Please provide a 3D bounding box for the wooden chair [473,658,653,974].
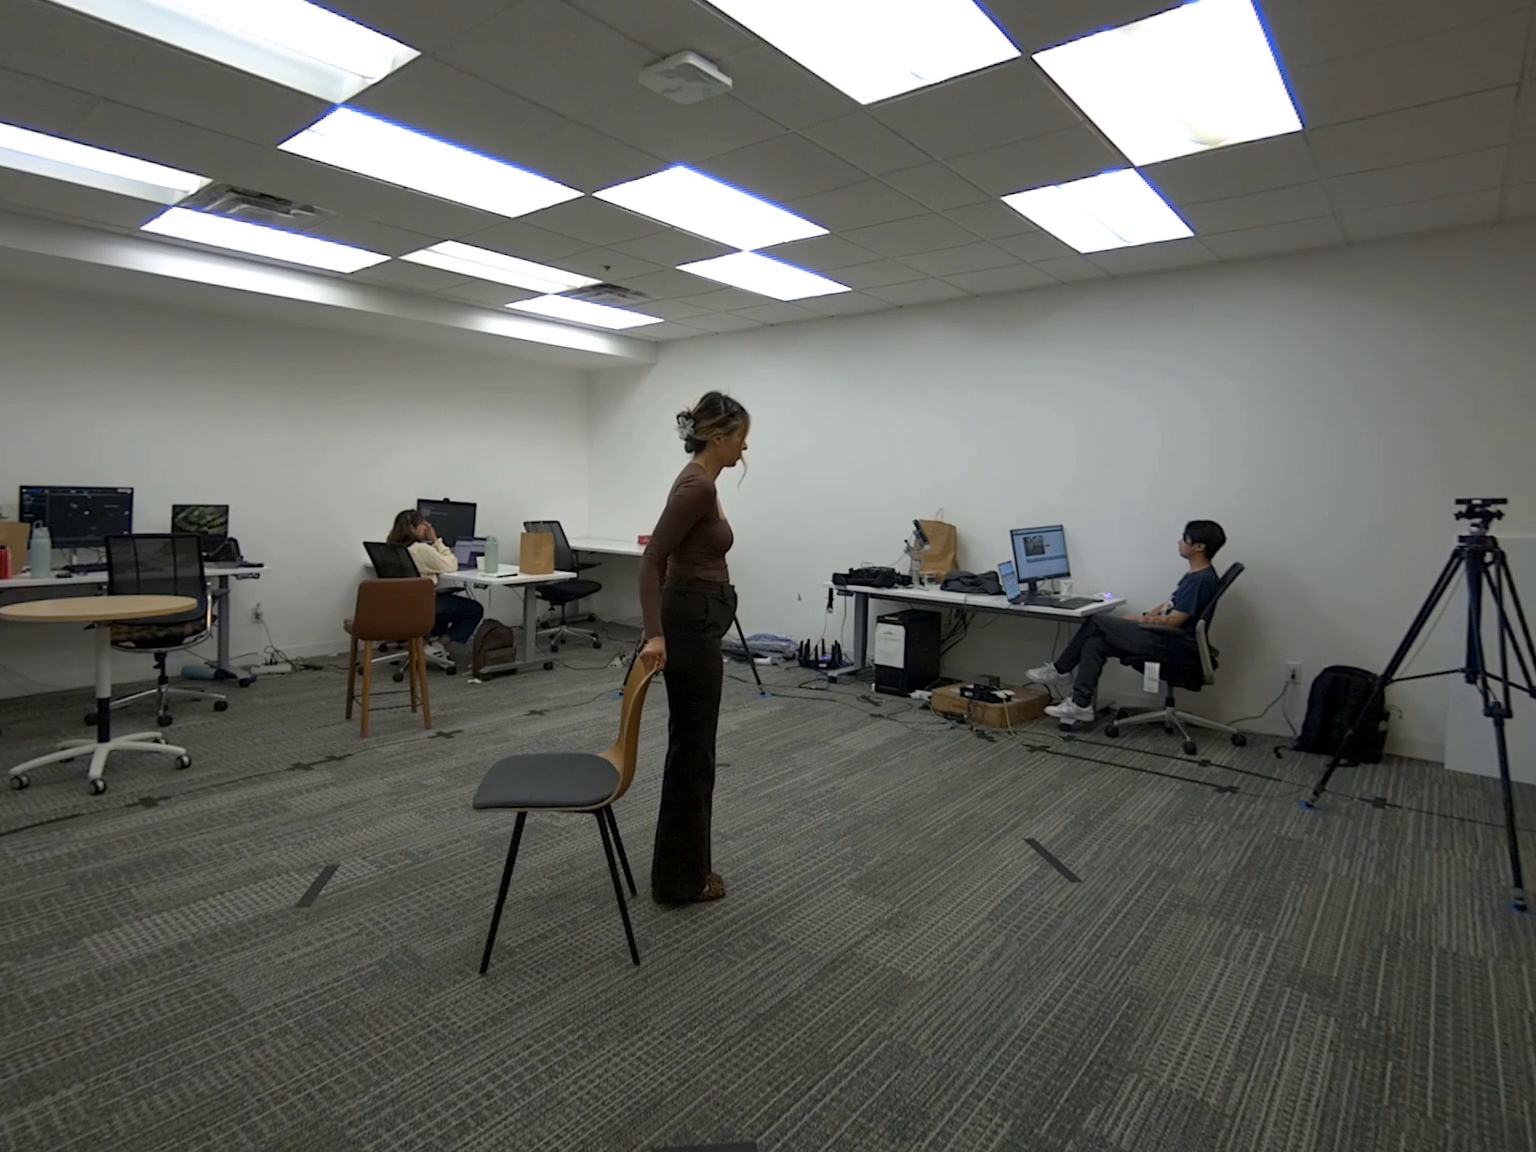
[{"bbox_3d":[-0.640,0.682,2.639,0.519,0.875,0.483,4,3,-8],"label":"wooden chair"}]
